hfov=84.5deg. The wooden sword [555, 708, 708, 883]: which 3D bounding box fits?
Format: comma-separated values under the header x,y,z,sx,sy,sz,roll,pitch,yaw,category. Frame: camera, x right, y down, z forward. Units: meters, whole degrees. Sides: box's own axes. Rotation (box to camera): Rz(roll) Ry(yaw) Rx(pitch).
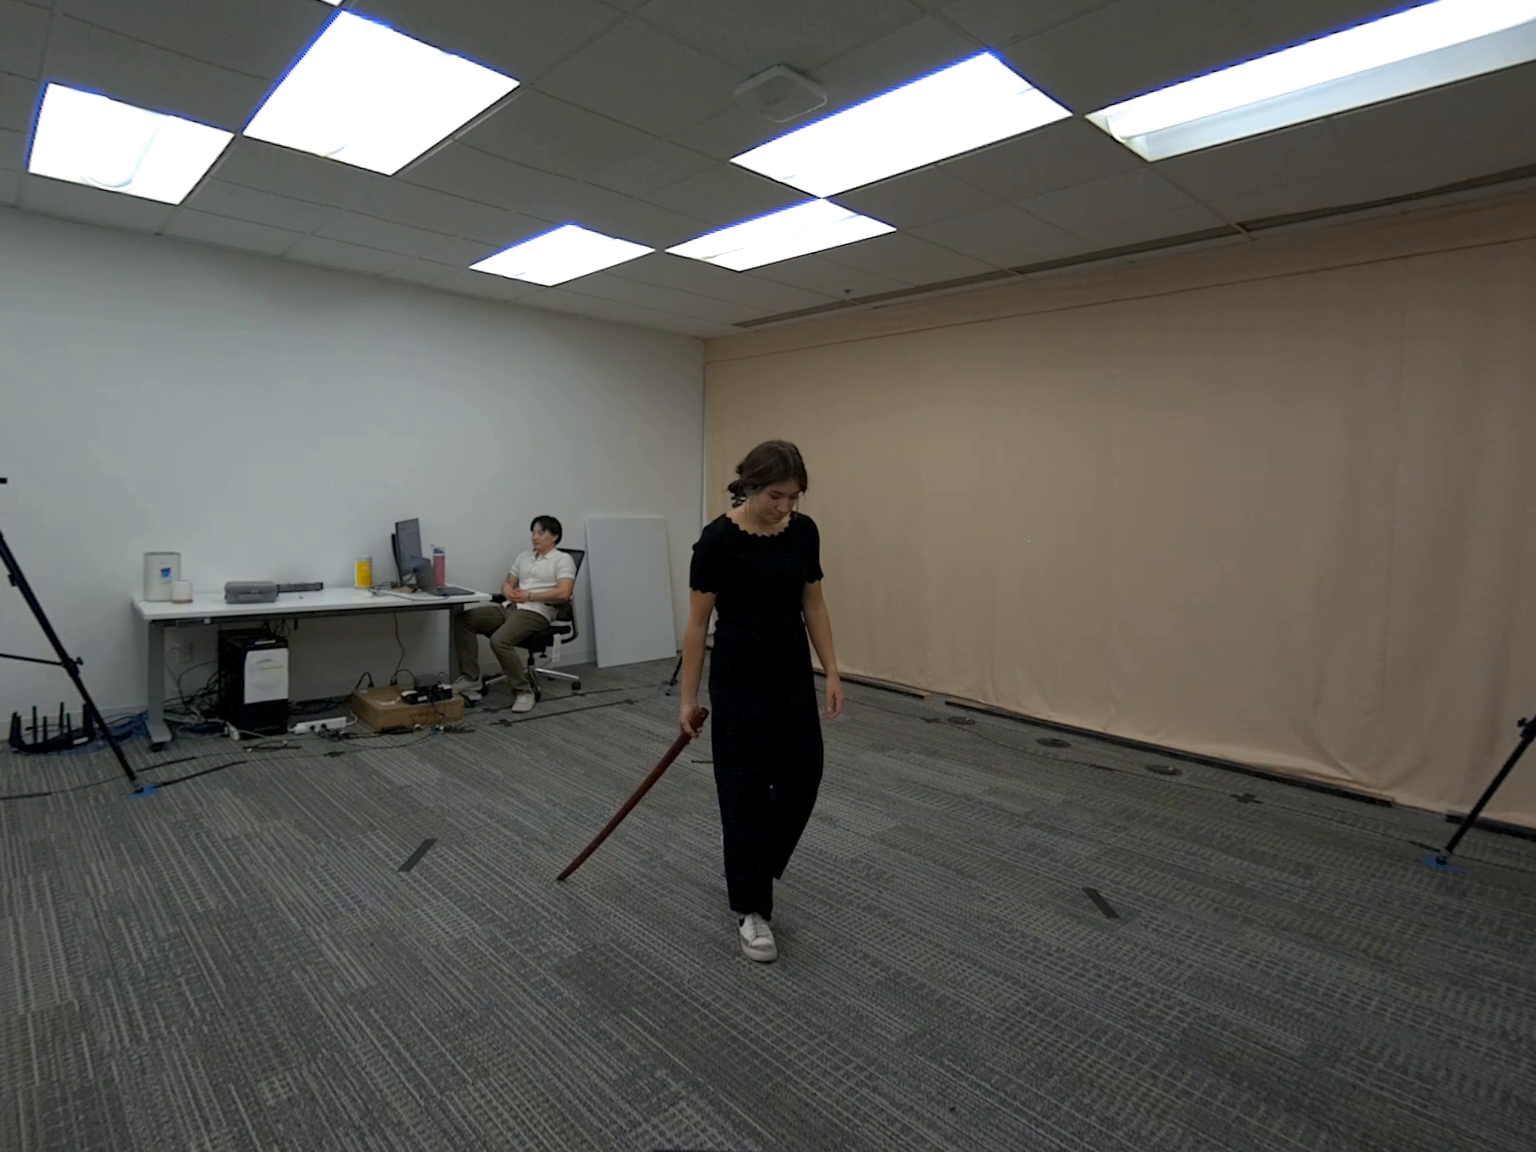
x,y,z,sx,sy,sz,roll,pitch,yaw,category
-0.470,0.765,2.790,0.024,1.023,0.051,43,30,3,wooden sword
